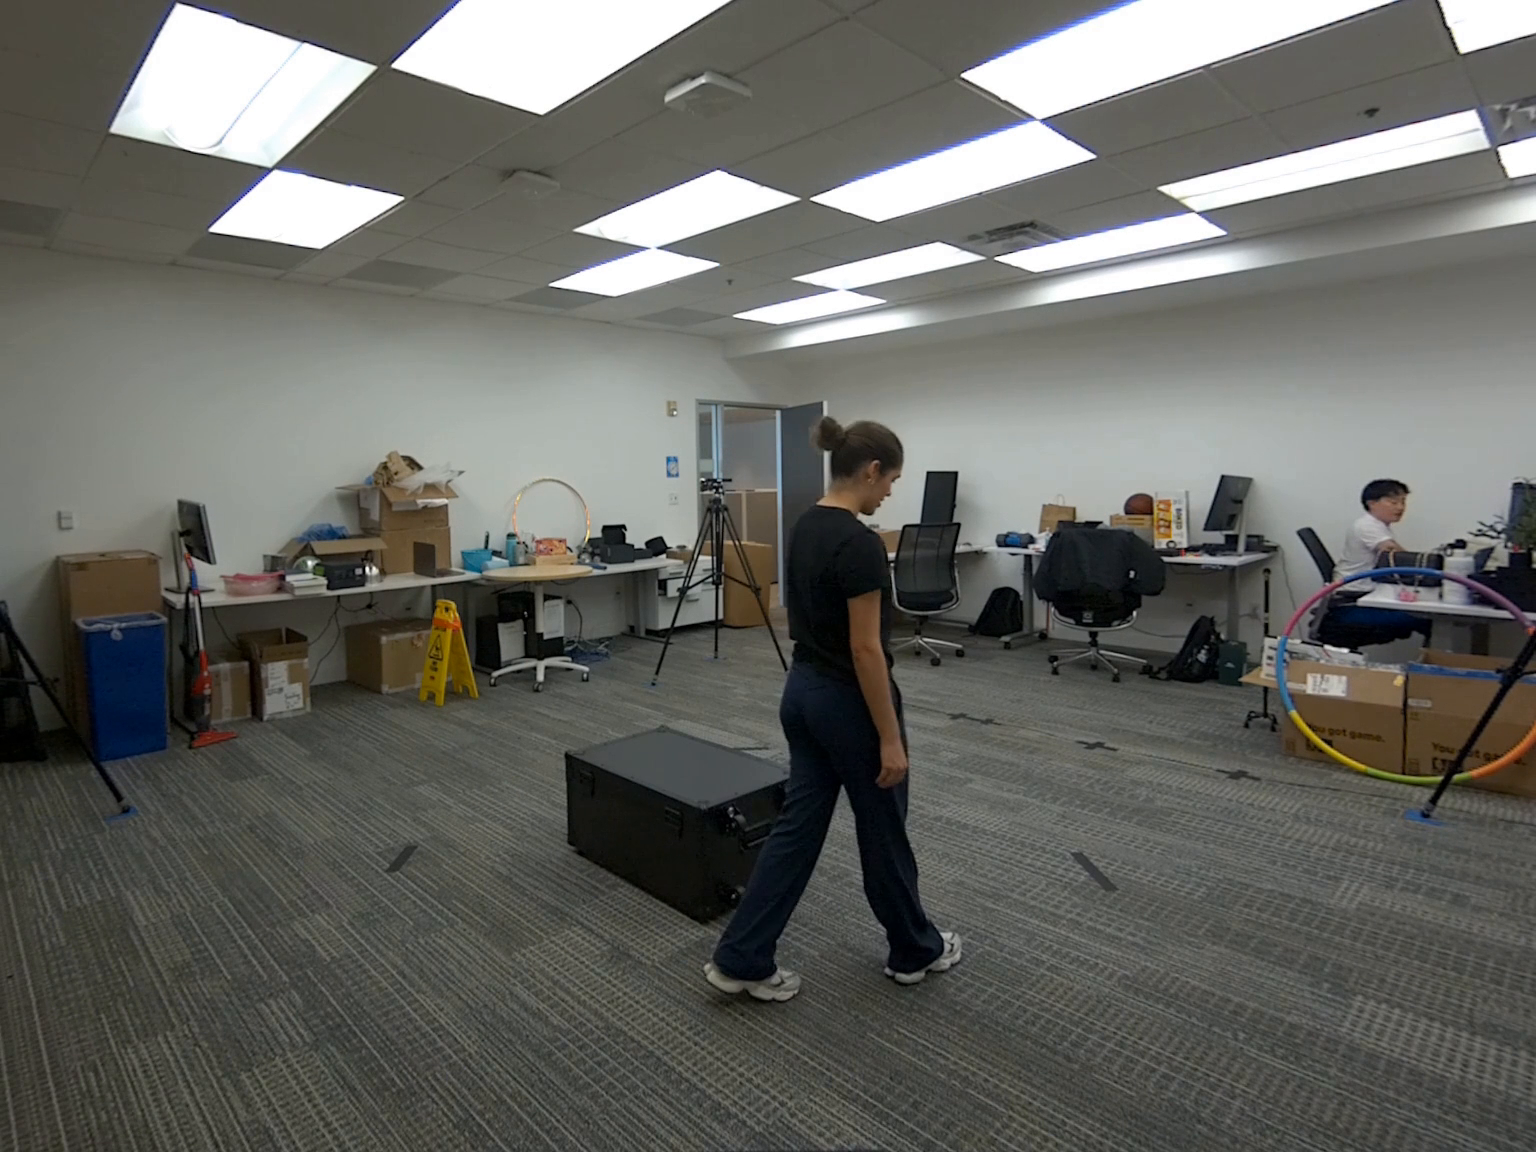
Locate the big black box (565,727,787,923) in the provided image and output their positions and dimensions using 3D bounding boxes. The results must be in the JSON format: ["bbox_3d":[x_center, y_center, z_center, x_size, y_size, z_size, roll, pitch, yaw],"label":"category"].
[{"bbox_3d":[-0.296,0.860,3.092,0.508,0.394,0.888,-7,8,-44],"label":"big black box"}]
